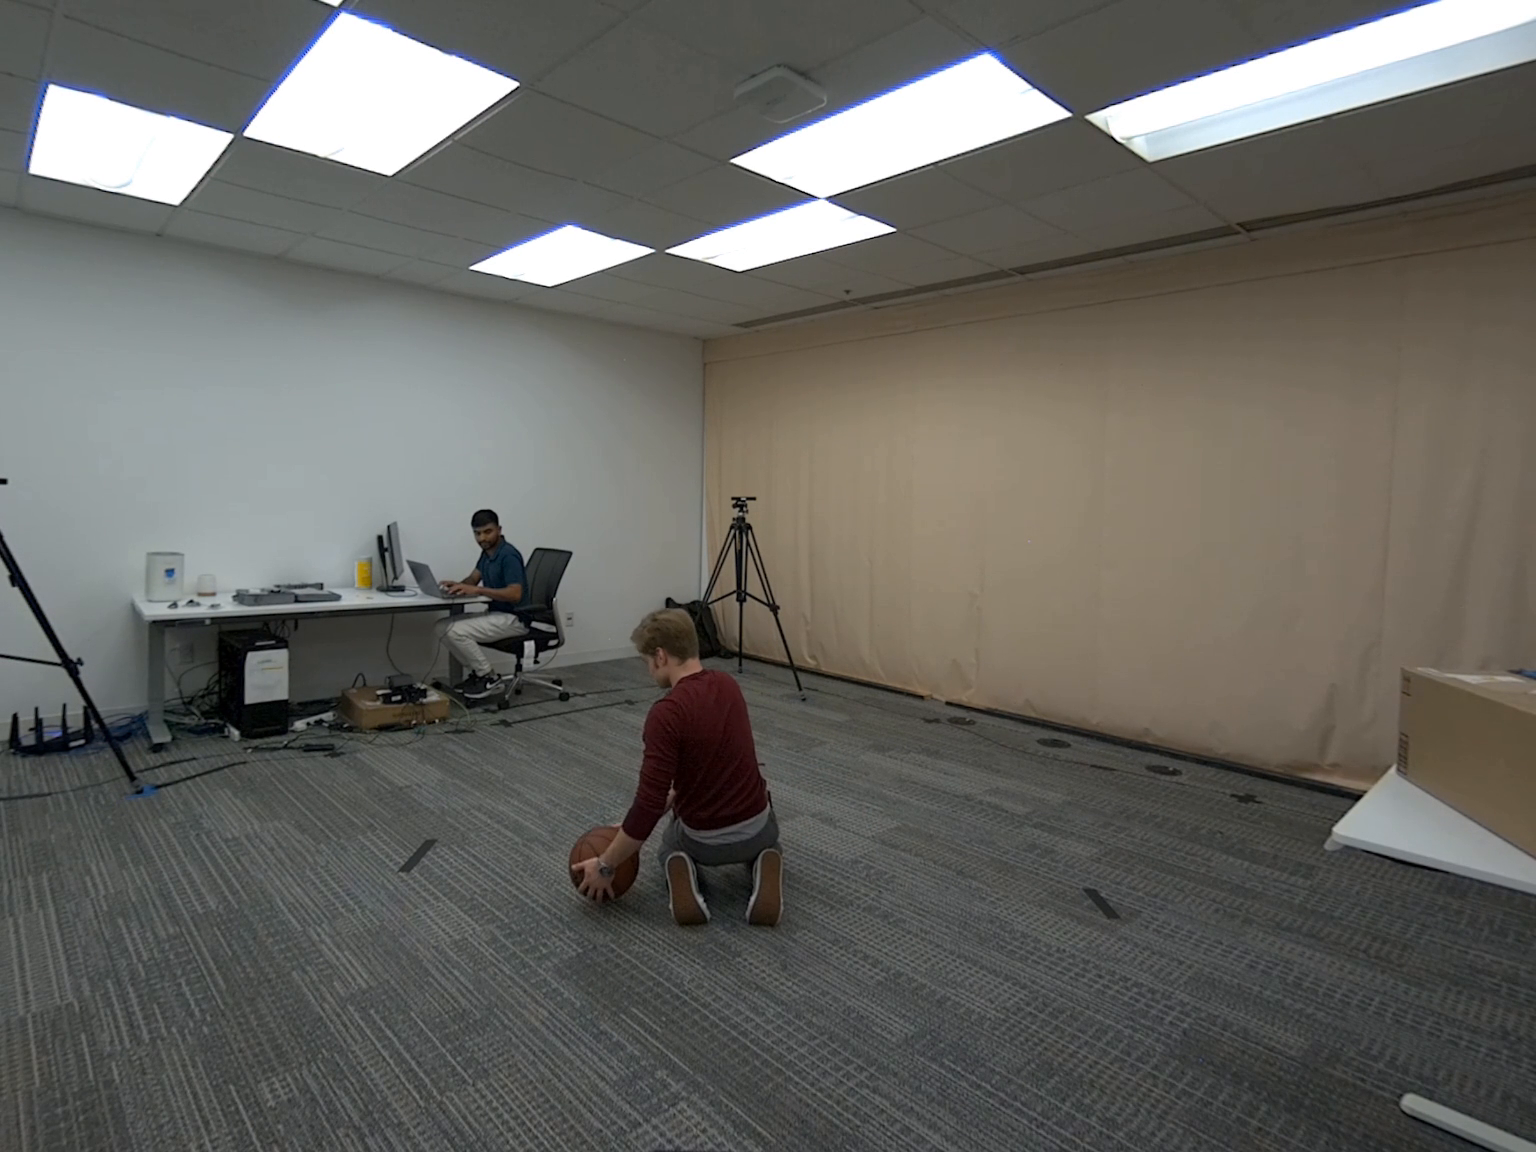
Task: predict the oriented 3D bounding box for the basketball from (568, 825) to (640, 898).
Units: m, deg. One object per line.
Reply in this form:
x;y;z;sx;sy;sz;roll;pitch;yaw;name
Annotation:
-0.562;0.961;2.870;0.236;0.235;0.237;1;4;-1;basketball
